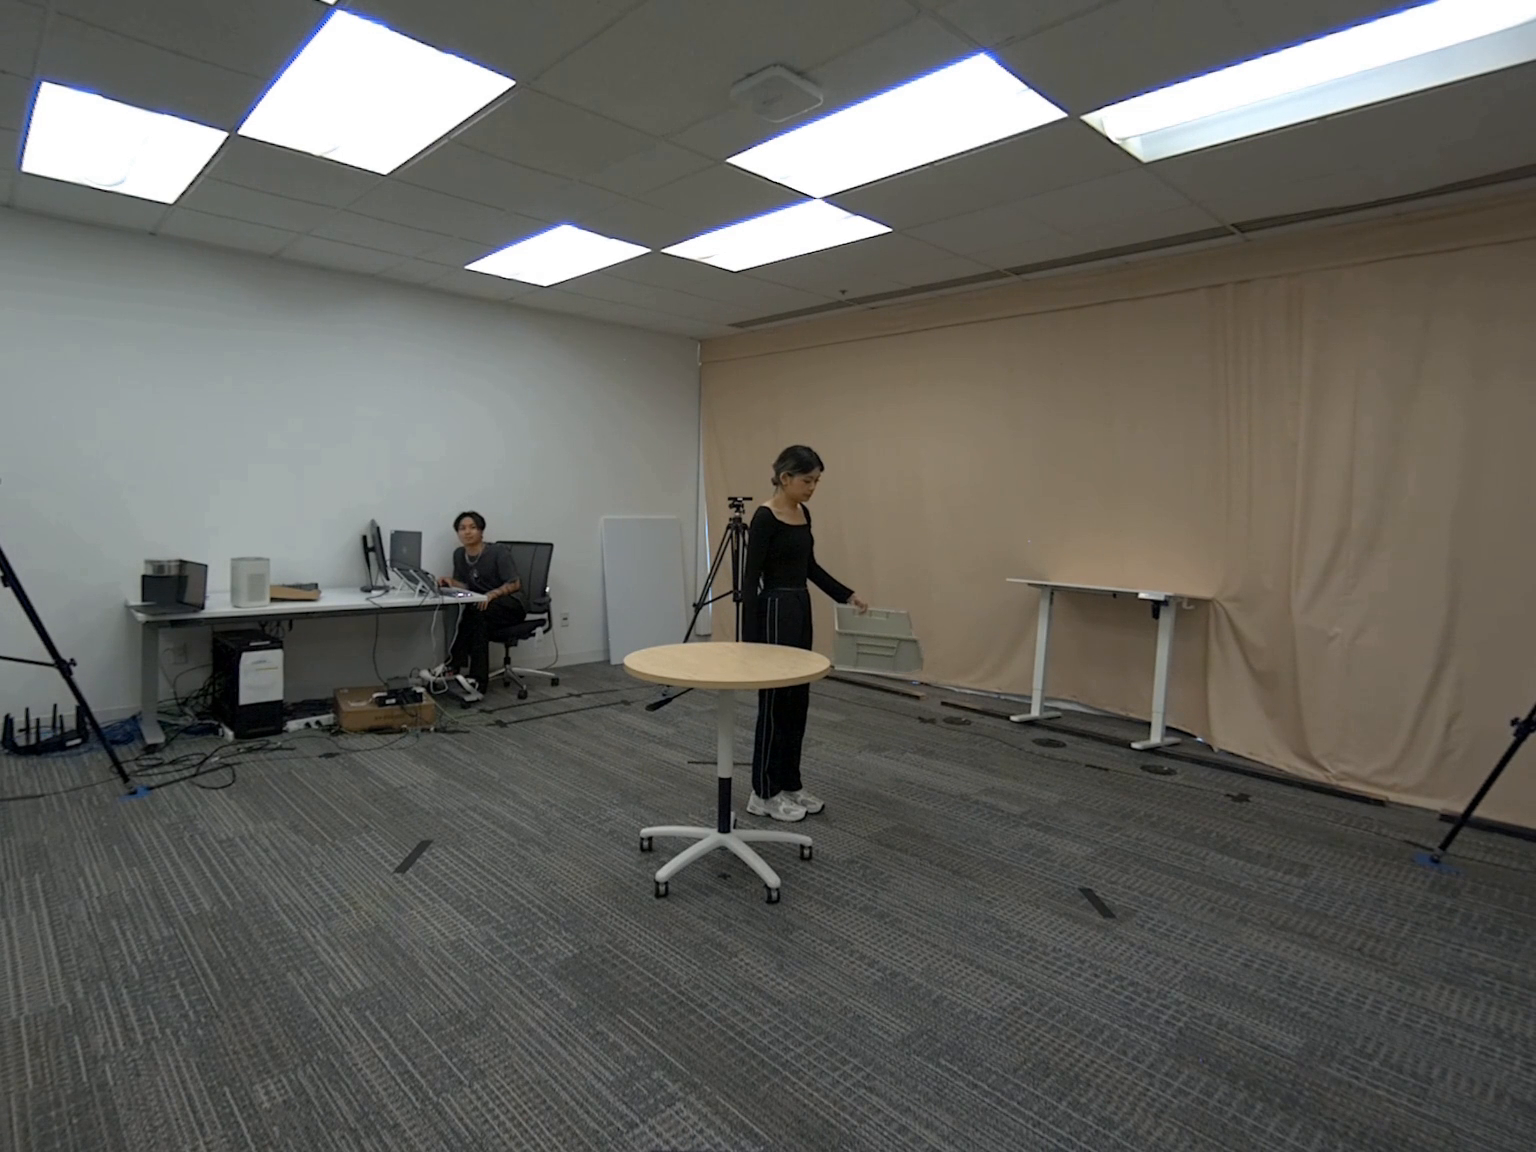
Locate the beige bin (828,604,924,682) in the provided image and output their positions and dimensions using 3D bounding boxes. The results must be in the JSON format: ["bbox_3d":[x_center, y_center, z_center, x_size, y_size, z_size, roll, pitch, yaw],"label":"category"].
[{"bbox_3d":[0.463,0.283,3.738,0.379,0.187,0.424,4,13,5],"label":"beige bin"}]
